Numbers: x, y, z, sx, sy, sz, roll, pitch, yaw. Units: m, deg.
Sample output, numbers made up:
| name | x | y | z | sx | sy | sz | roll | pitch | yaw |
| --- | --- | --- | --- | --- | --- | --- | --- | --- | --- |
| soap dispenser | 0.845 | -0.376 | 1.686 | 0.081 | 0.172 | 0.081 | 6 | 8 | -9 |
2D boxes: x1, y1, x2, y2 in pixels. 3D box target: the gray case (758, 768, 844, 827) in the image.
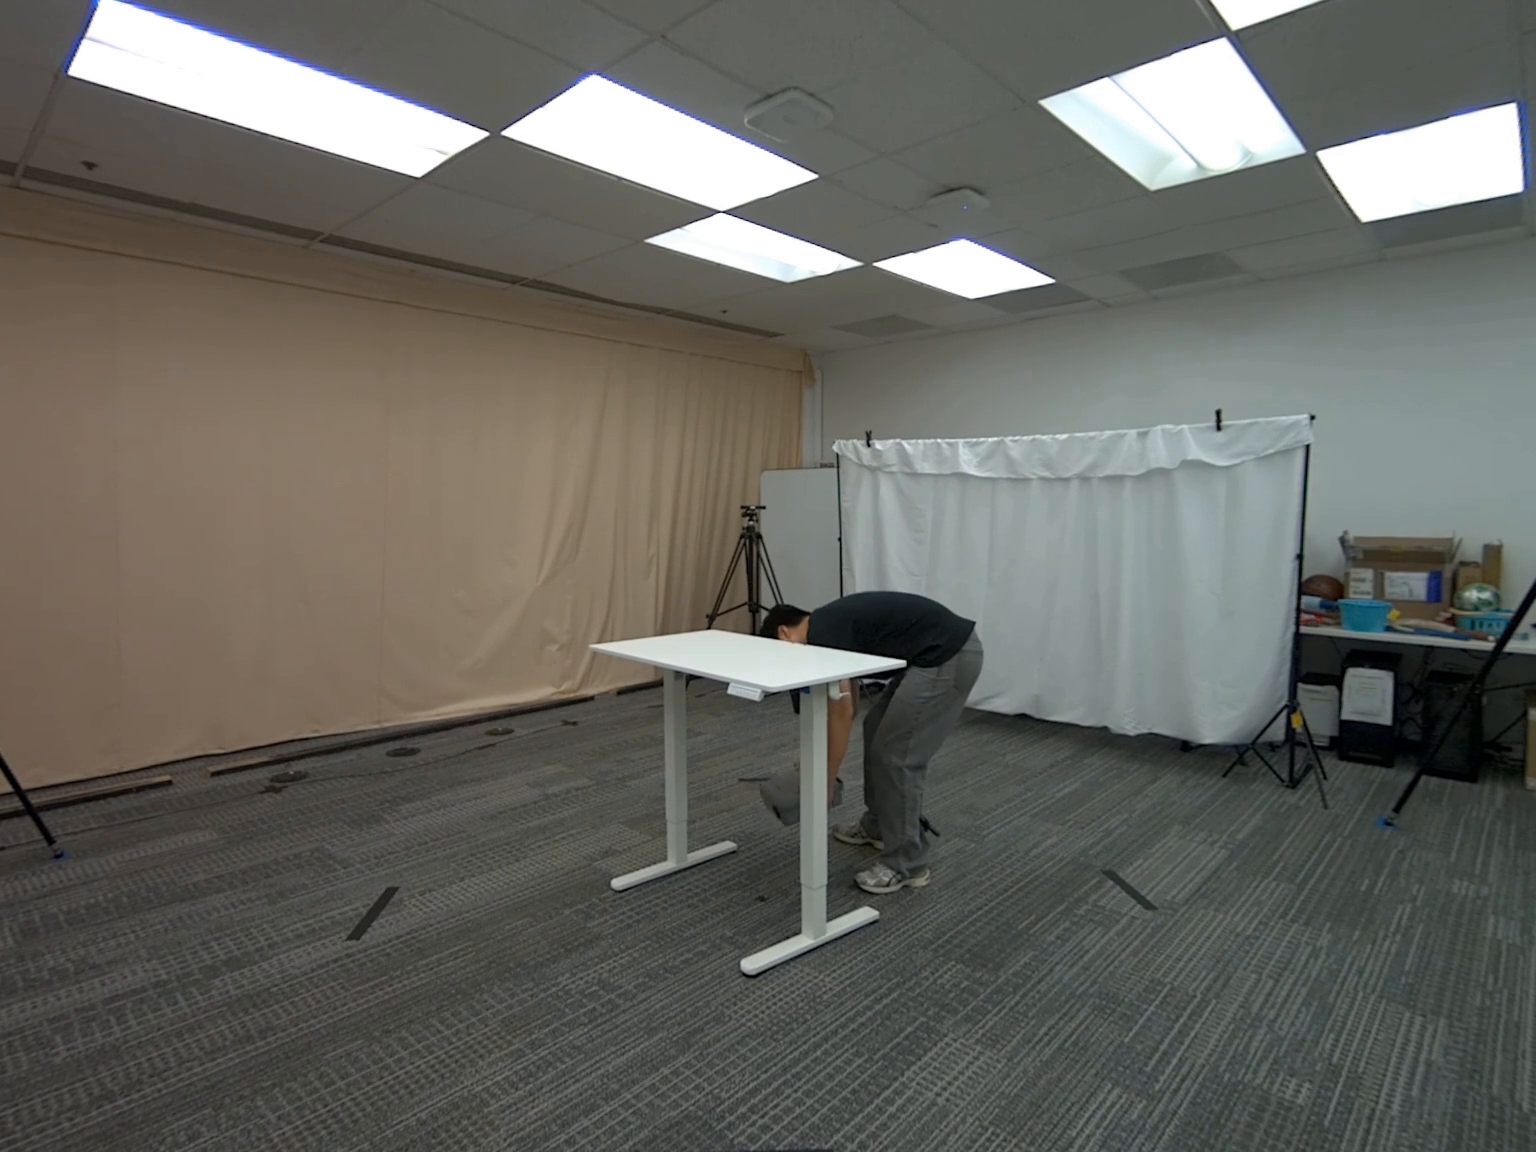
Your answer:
| name | x | y | z | sx | sy | sz | roll | pitch | yaw |
| --- | --- | --- | --- | --- | --- | --- | --- | --- | --- |
| gray case | 0.119 | 0.820 | 3.191 | 0.283 | 0.102 | 0.269 | -15 | 10 | -16 |
